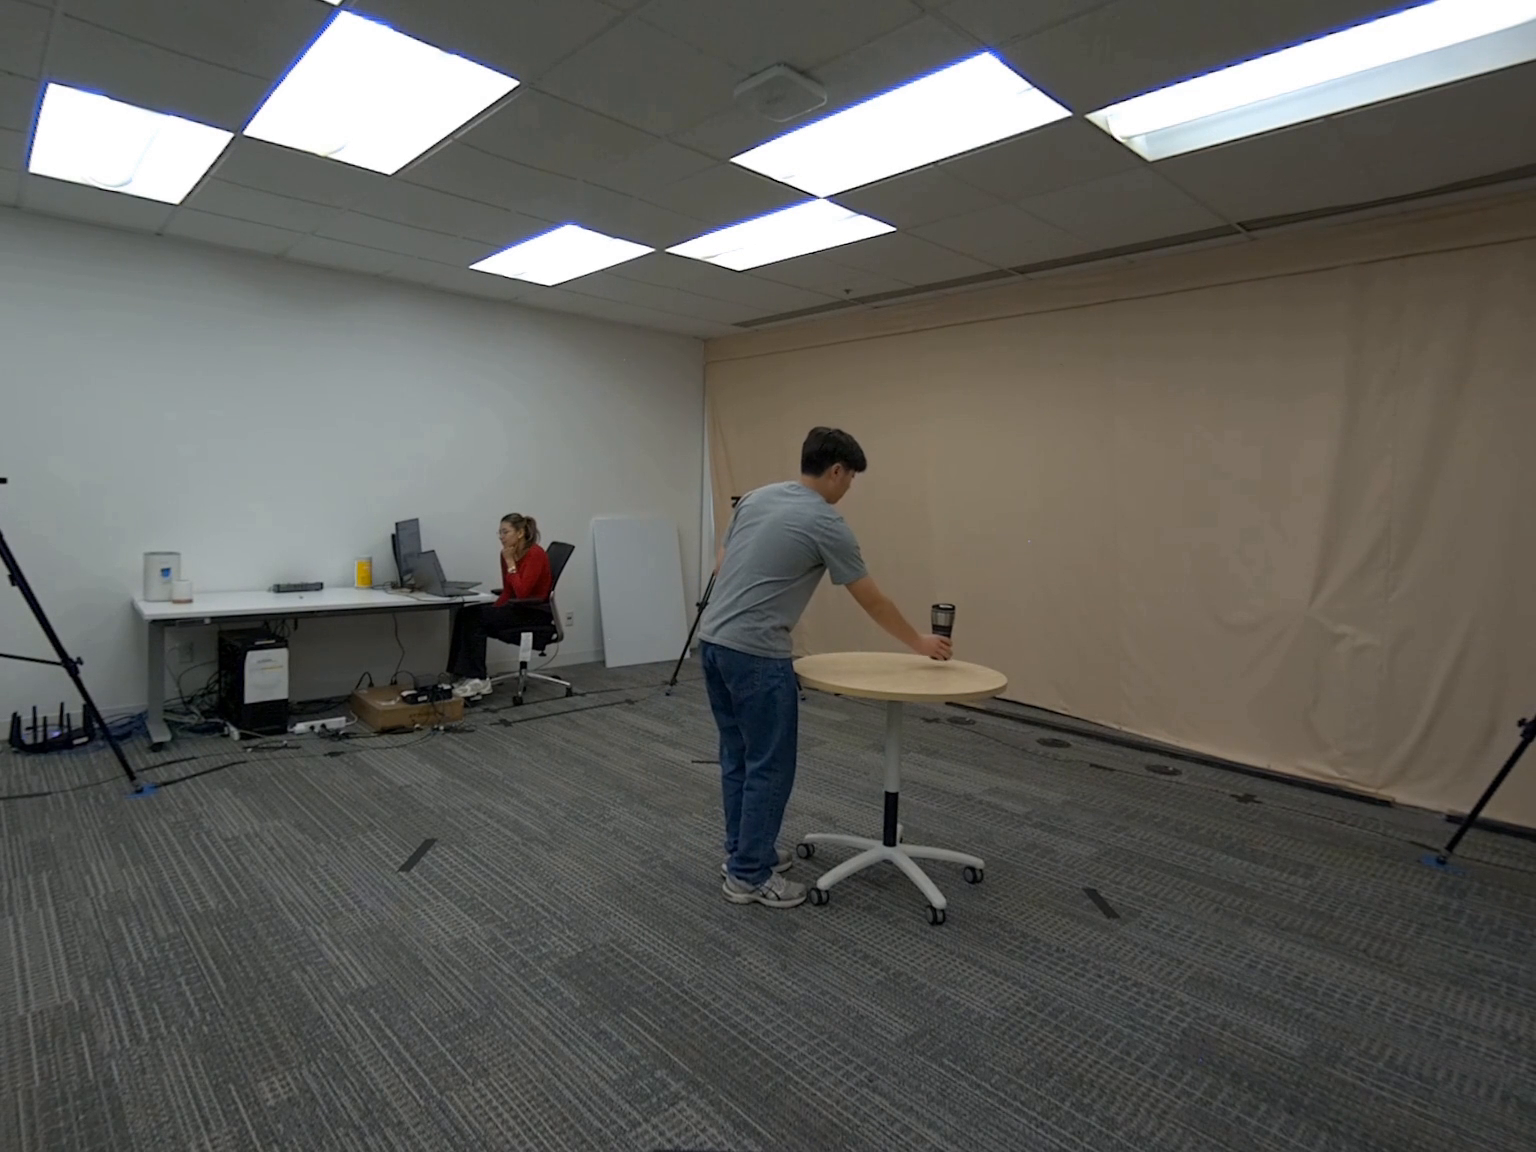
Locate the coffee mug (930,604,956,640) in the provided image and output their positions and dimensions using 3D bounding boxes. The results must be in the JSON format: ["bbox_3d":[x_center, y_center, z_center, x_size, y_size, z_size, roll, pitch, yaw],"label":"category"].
[{"bbox_3d":[0.643,0.206,3.142,0.119,0.202,0.090,-6,8,-41],"label":"coffee mug"}]
